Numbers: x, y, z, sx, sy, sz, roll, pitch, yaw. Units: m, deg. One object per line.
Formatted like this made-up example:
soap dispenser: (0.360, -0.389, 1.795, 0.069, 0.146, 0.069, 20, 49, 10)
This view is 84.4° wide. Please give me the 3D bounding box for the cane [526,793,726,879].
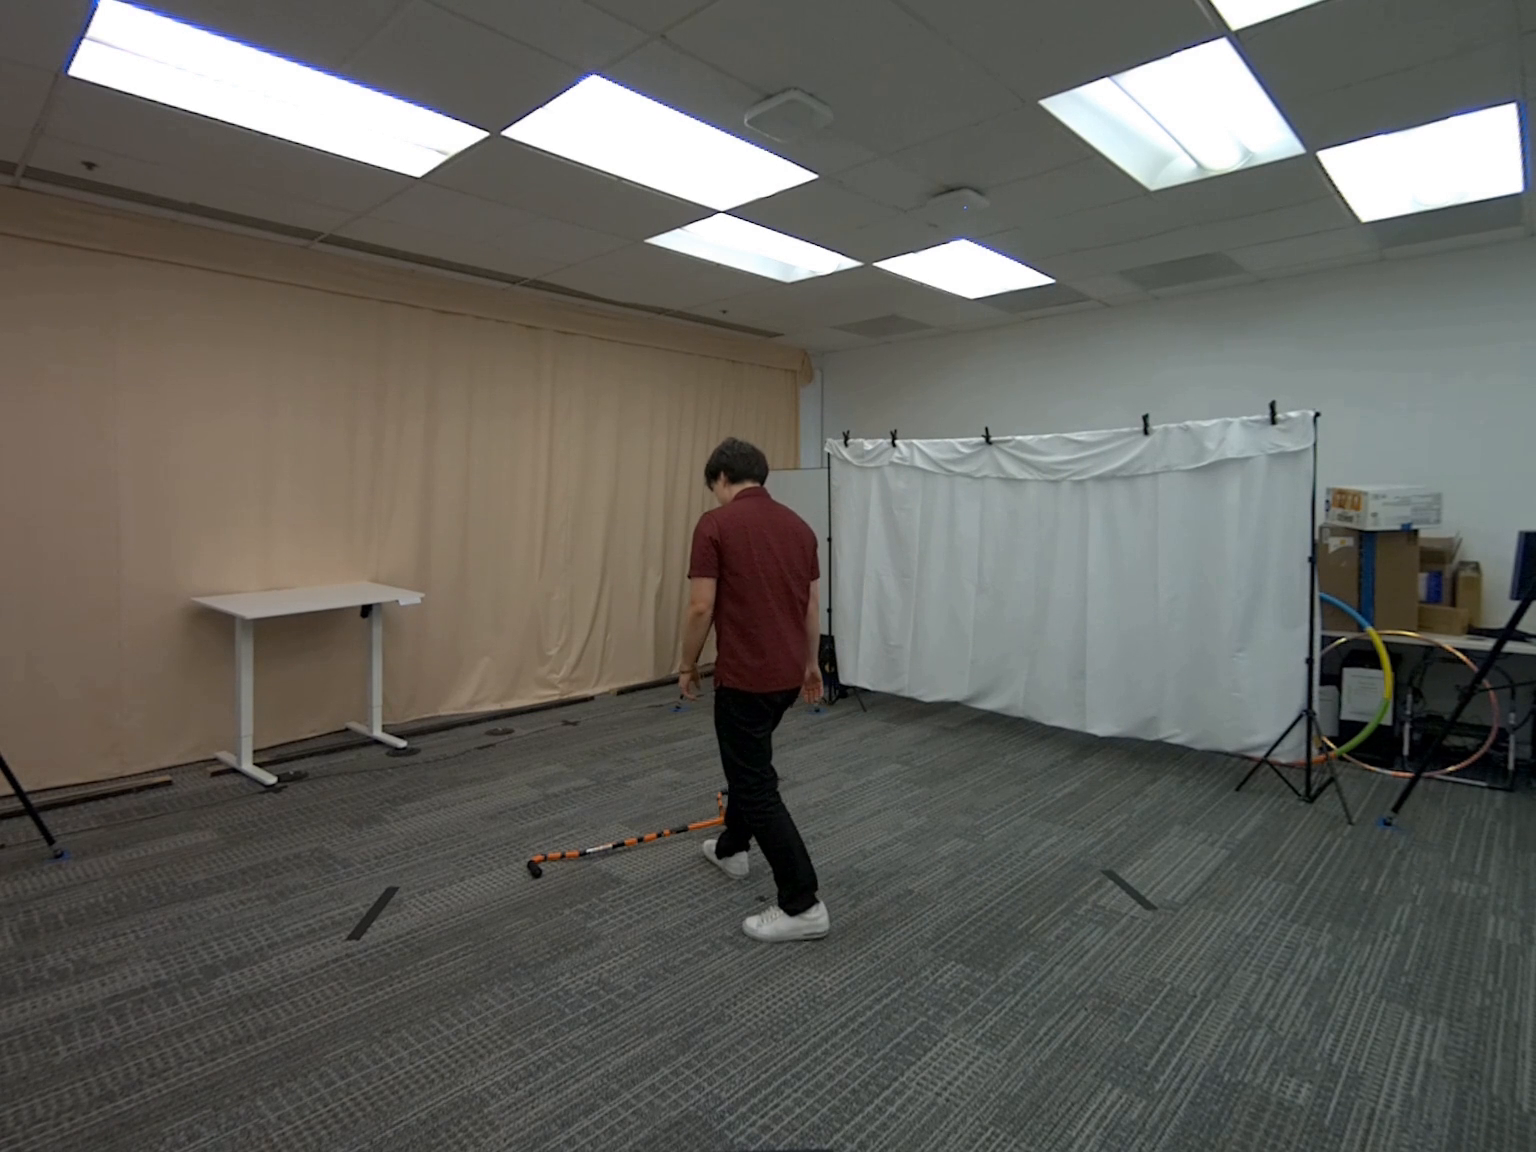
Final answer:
cane: (-0.529, 1.055, 3.433, 0.886, 0.151, 0.212, -6, 4, -26)
